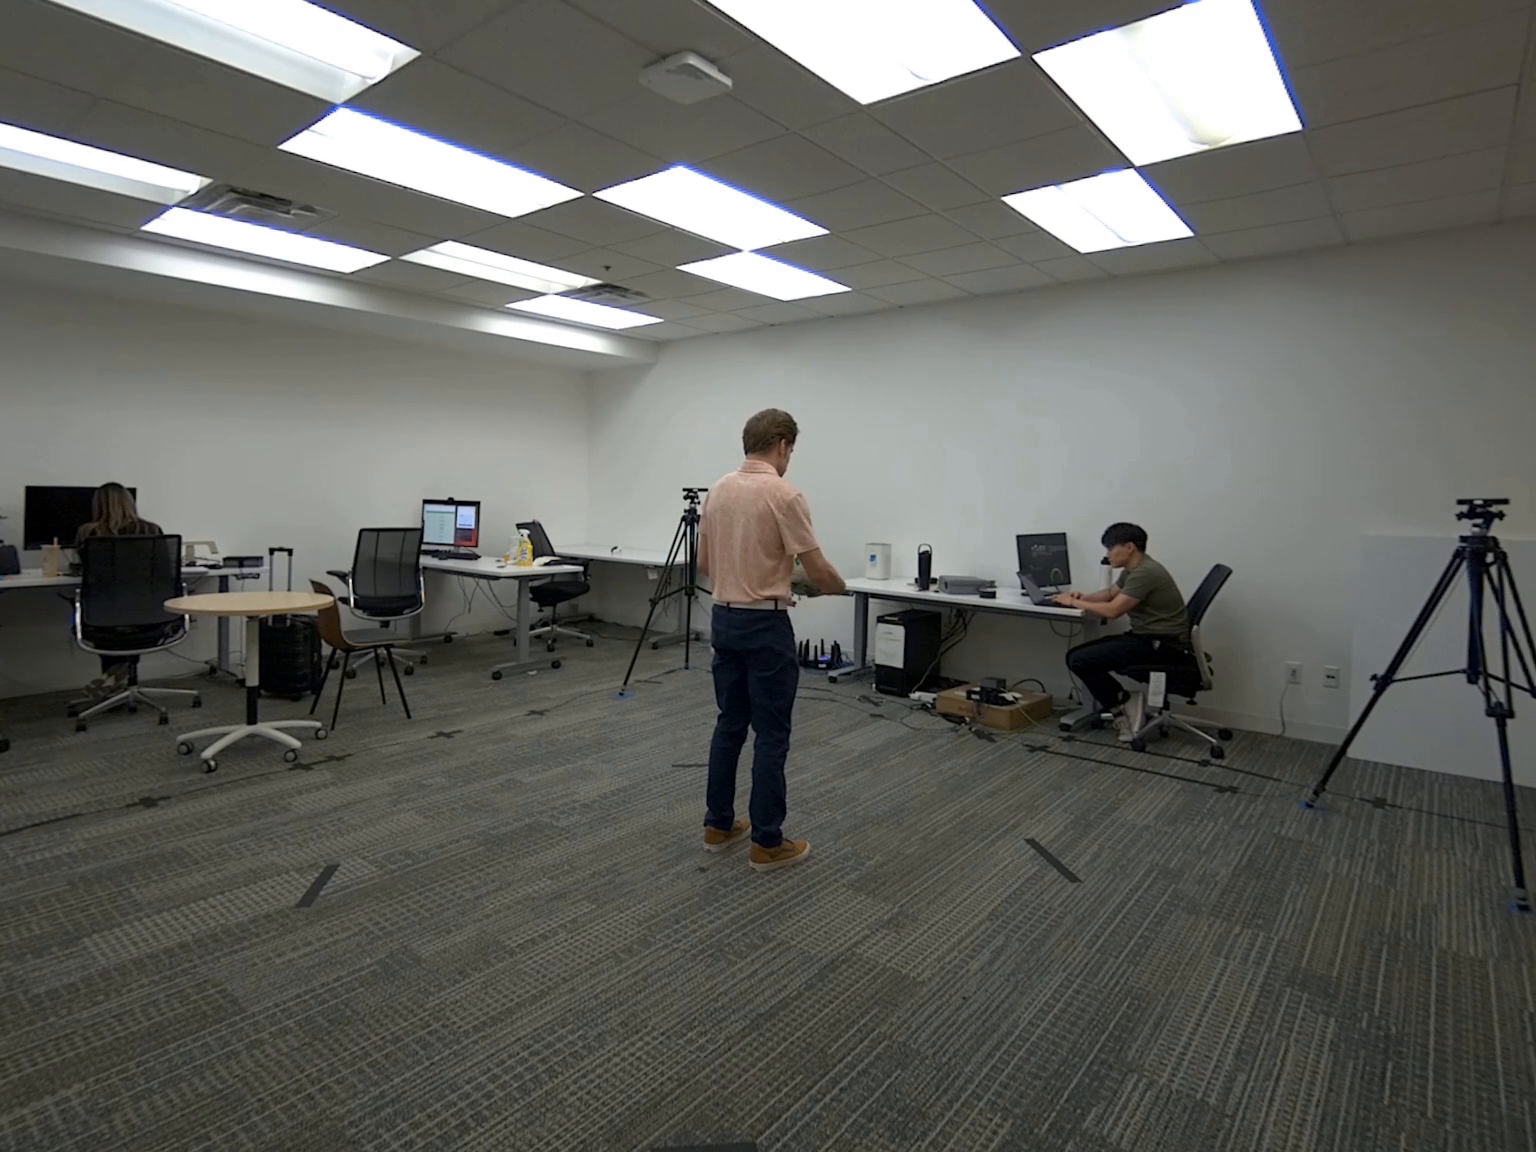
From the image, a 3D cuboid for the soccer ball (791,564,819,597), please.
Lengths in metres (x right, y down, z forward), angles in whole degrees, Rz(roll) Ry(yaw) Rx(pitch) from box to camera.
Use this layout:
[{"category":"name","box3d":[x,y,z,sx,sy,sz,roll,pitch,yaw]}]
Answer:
[{"category":"soccer ball","box3d":[0.129,0.002,3.419,0.187,0.187,0.188,1,4,-2]}]
